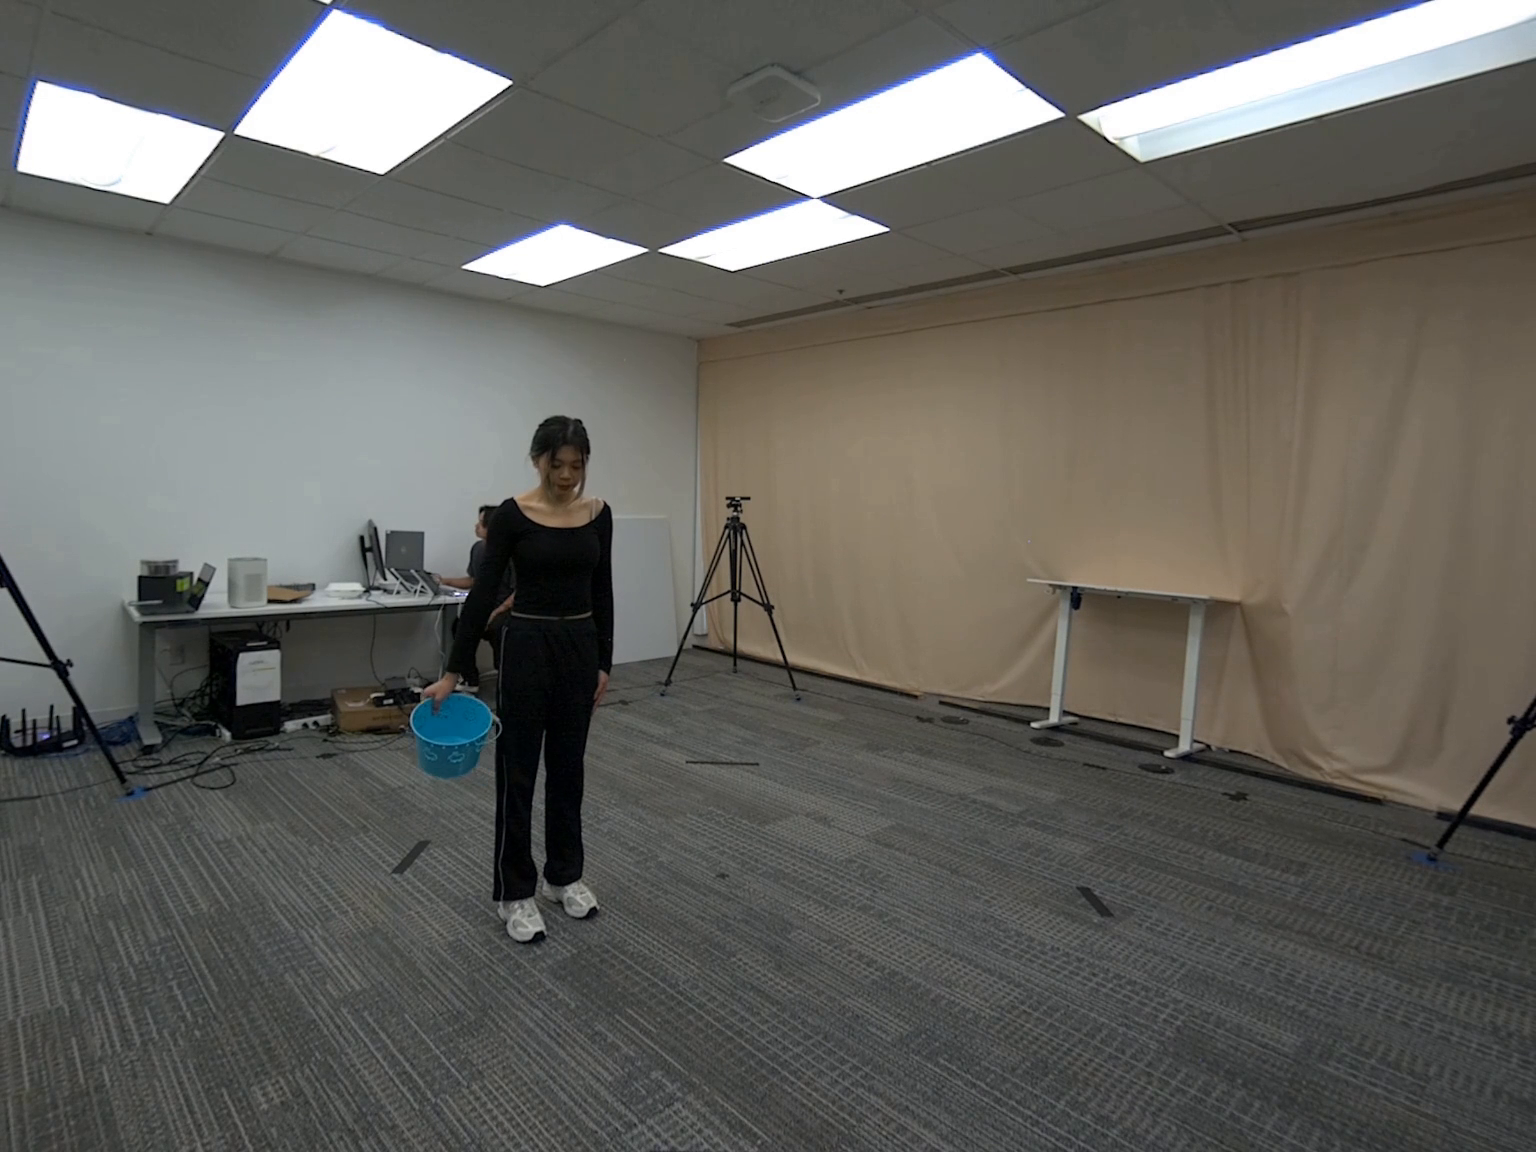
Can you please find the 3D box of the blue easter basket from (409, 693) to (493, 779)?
[{"bbox_3d":[-0.966,0.490,2.527,0.242,0.154,0.248,10,27,-6],"label":"blue easter basket"}]
